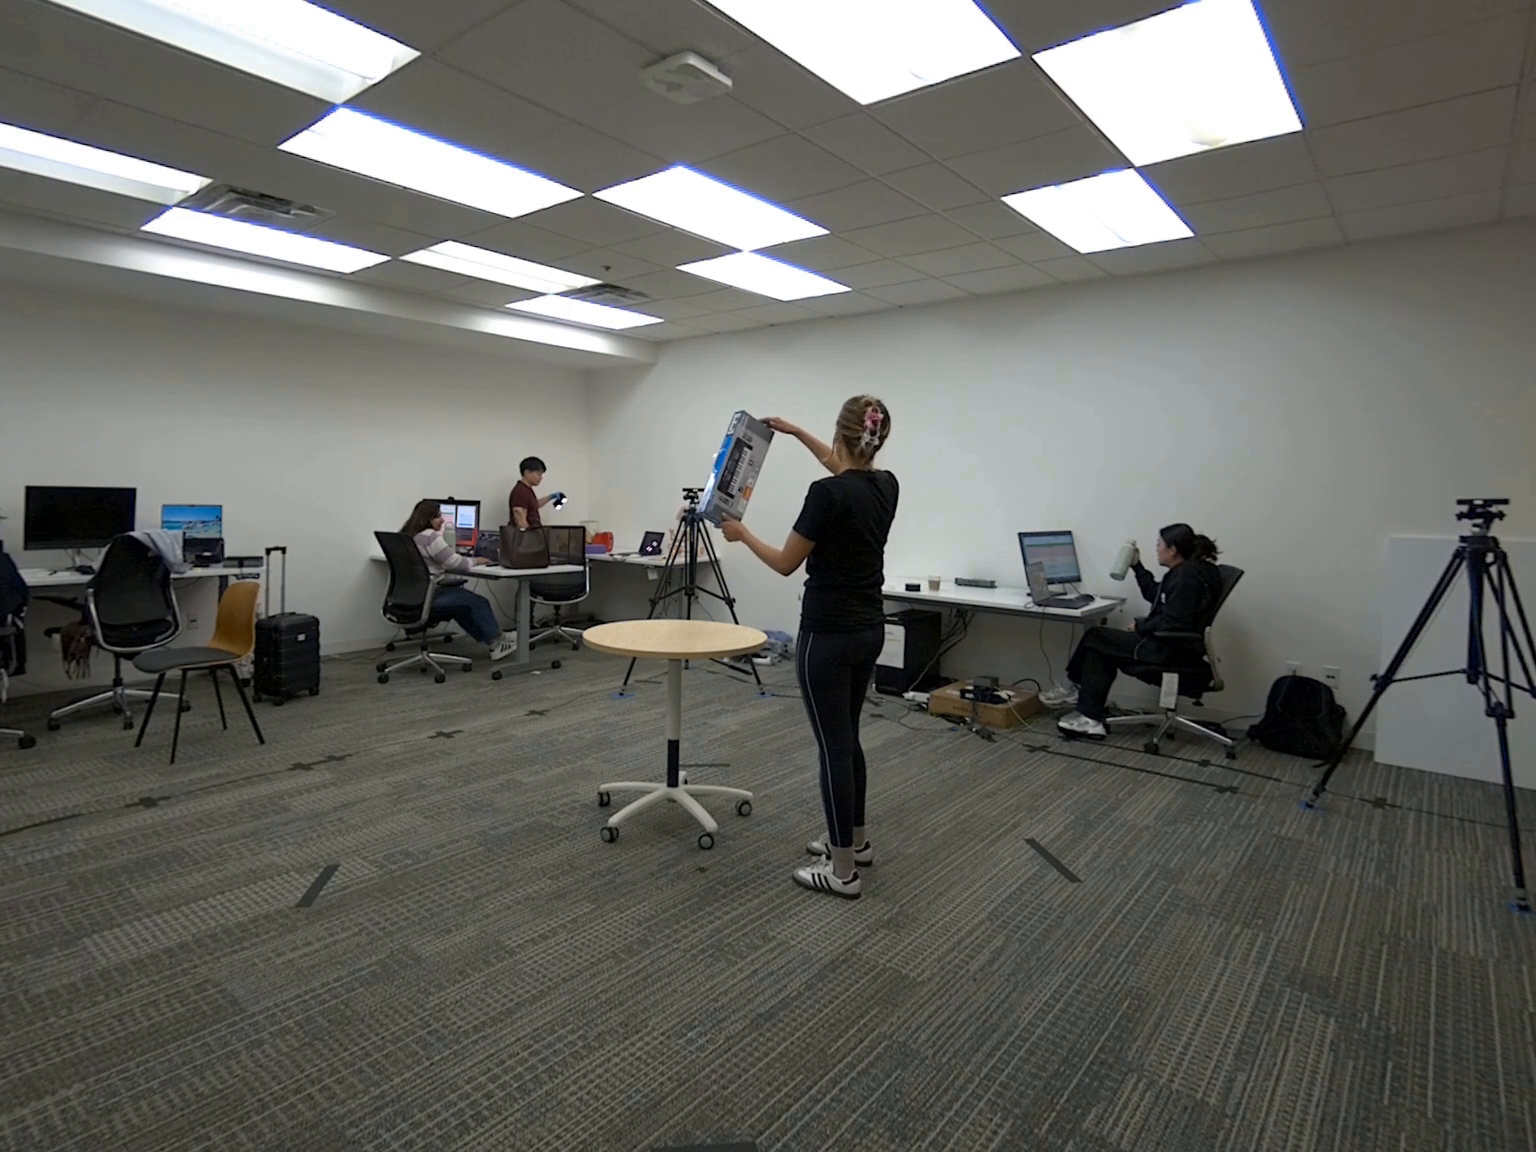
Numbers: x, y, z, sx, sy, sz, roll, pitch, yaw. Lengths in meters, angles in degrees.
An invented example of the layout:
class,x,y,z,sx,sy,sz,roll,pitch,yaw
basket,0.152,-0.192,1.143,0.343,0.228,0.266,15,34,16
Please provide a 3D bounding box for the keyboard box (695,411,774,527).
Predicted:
class,x,y,z,sx,sy,sz,roll,pitch,yaw
keyboard box,-0.130,-0.401,3.268,0.169,0.440,0.061,28,-17,-31
